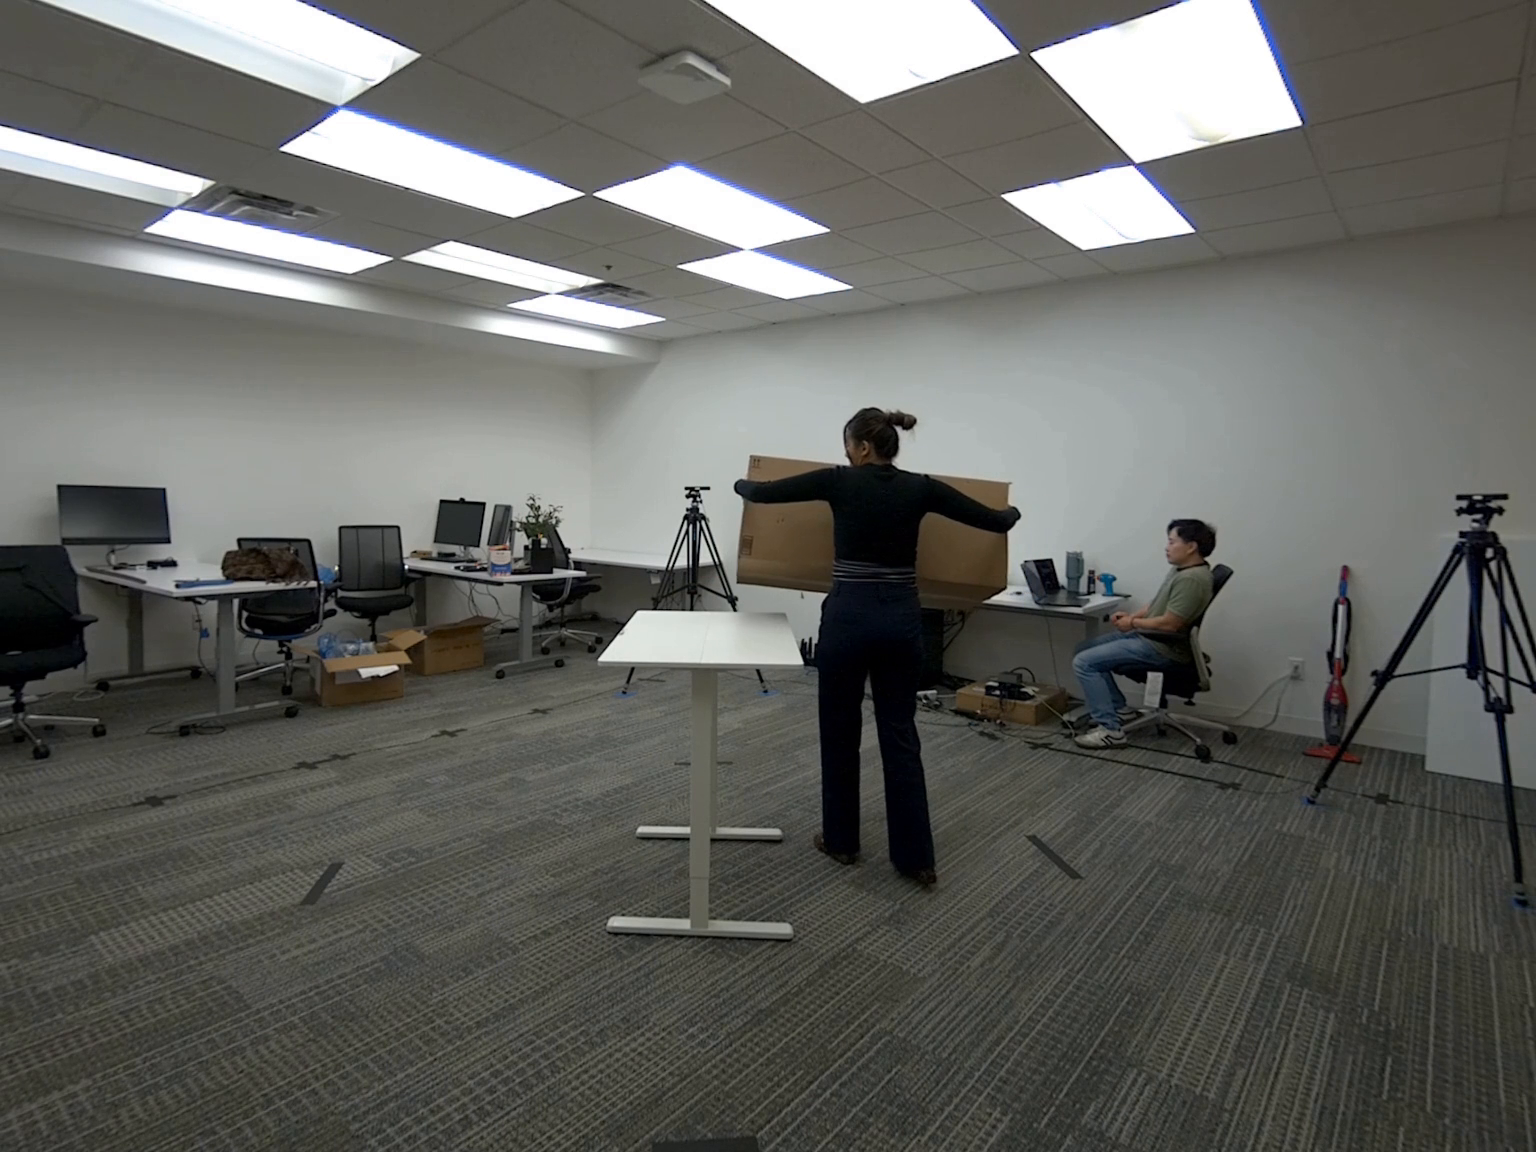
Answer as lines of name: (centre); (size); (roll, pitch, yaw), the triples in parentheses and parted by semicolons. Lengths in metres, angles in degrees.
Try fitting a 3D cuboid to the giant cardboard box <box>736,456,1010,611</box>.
giant cardboard box: (0.393, -0.176, 3.543); (1.029, 0.430, 0.570); (6, -11, 2)
